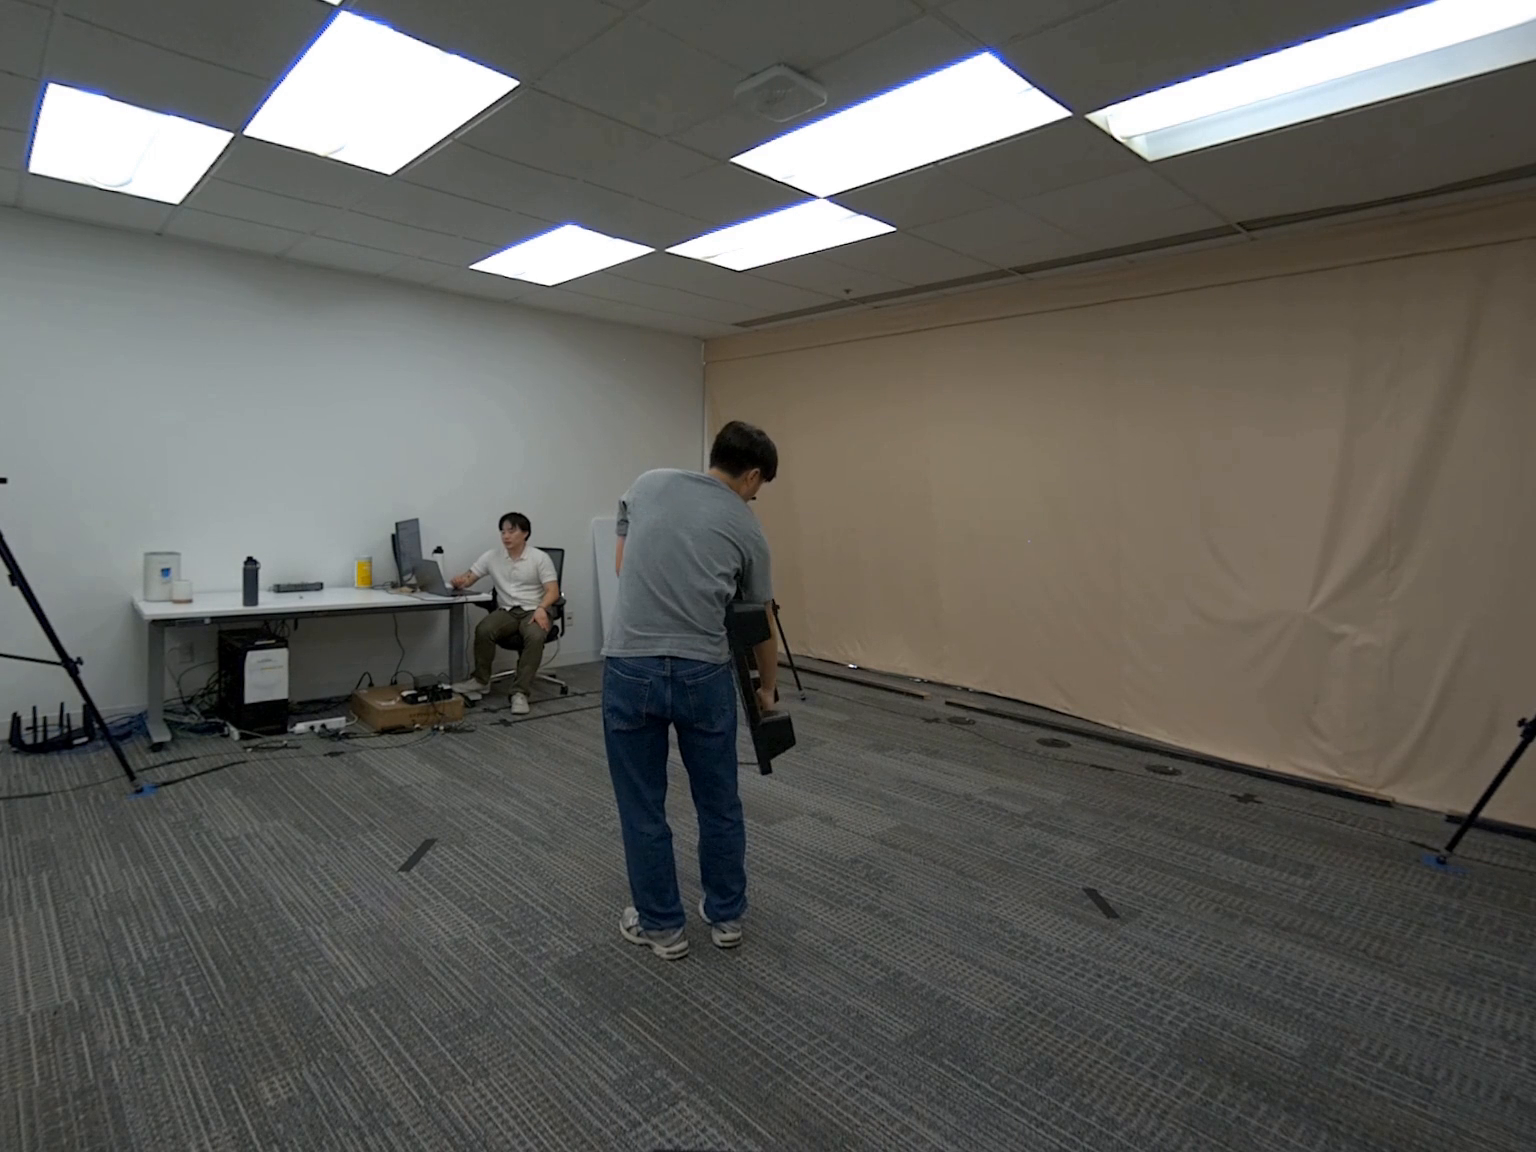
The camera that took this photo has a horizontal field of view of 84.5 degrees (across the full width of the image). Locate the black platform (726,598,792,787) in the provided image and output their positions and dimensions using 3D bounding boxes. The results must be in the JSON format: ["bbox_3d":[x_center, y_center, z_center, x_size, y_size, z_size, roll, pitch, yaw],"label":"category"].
[{"bbox_3d":[-0.093,0.245,2.955,0.143,0.598,0.817,-10,15,-4],"label":"black platform"}]
